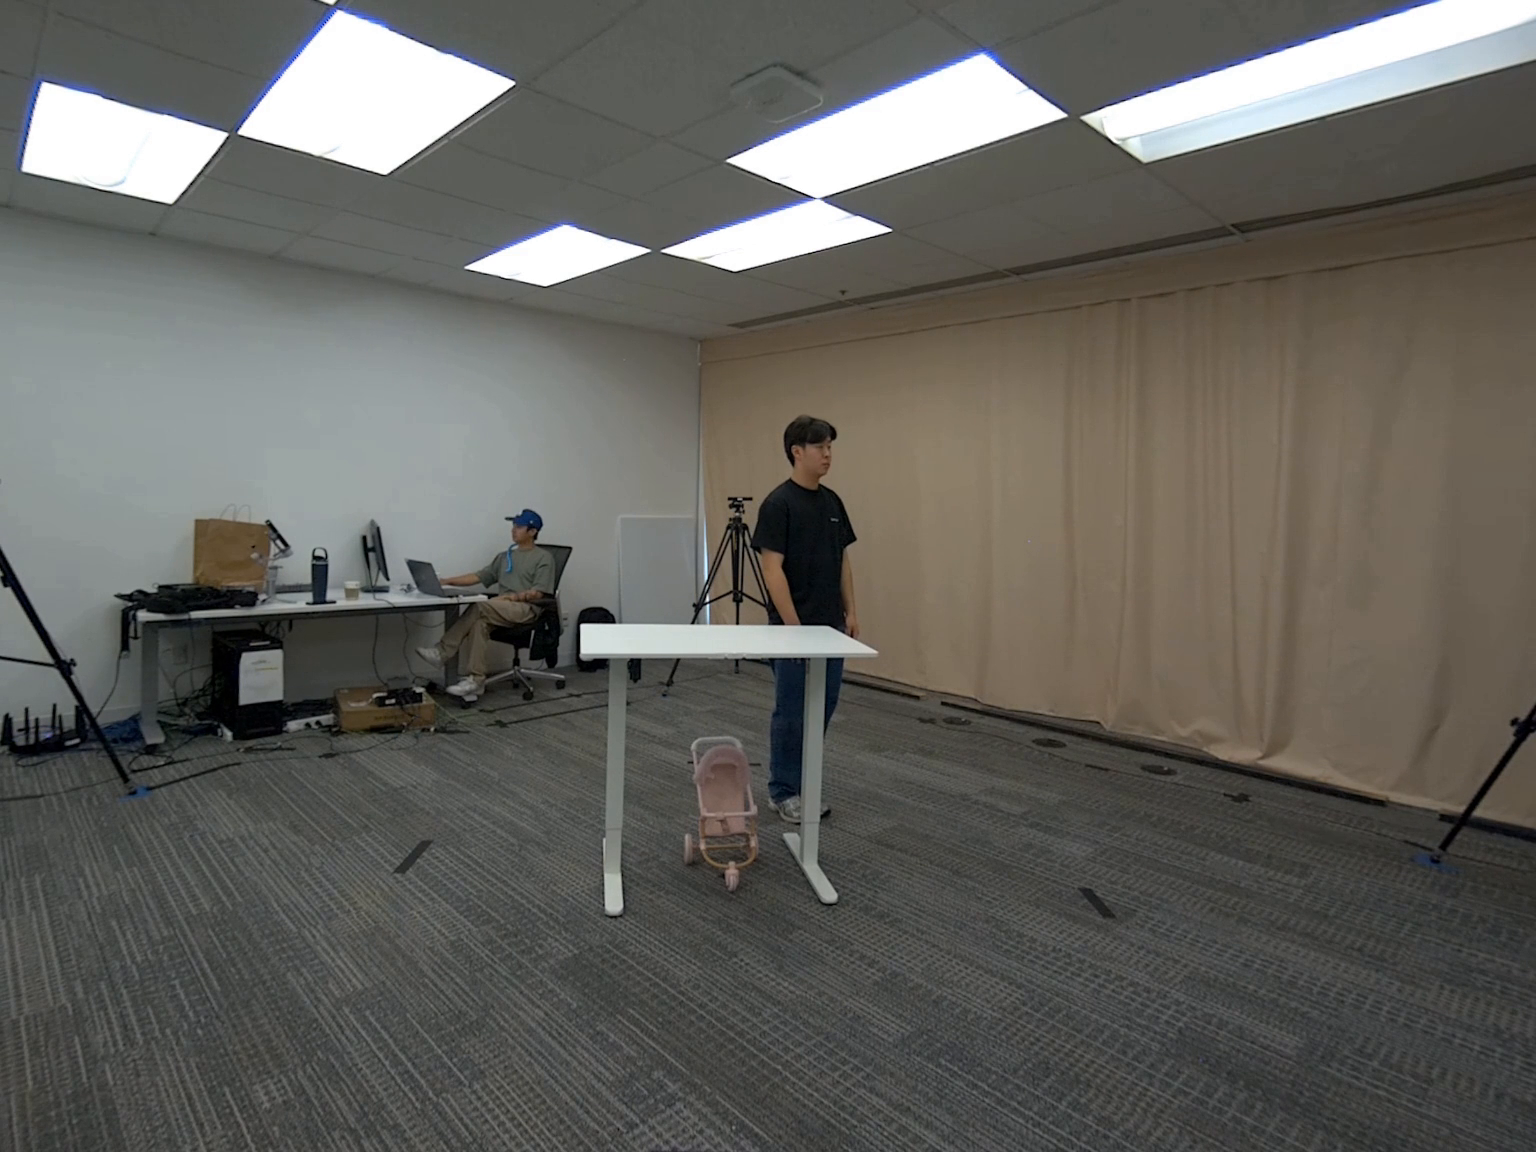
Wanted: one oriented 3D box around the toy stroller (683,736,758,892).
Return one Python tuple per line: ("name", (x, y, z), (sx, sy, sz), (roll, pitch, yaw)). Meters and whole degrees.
("toy stroller", (-0.173, 0.877, 3.155), (0.280, 0.540, 0.340), (1, -11, -8))
